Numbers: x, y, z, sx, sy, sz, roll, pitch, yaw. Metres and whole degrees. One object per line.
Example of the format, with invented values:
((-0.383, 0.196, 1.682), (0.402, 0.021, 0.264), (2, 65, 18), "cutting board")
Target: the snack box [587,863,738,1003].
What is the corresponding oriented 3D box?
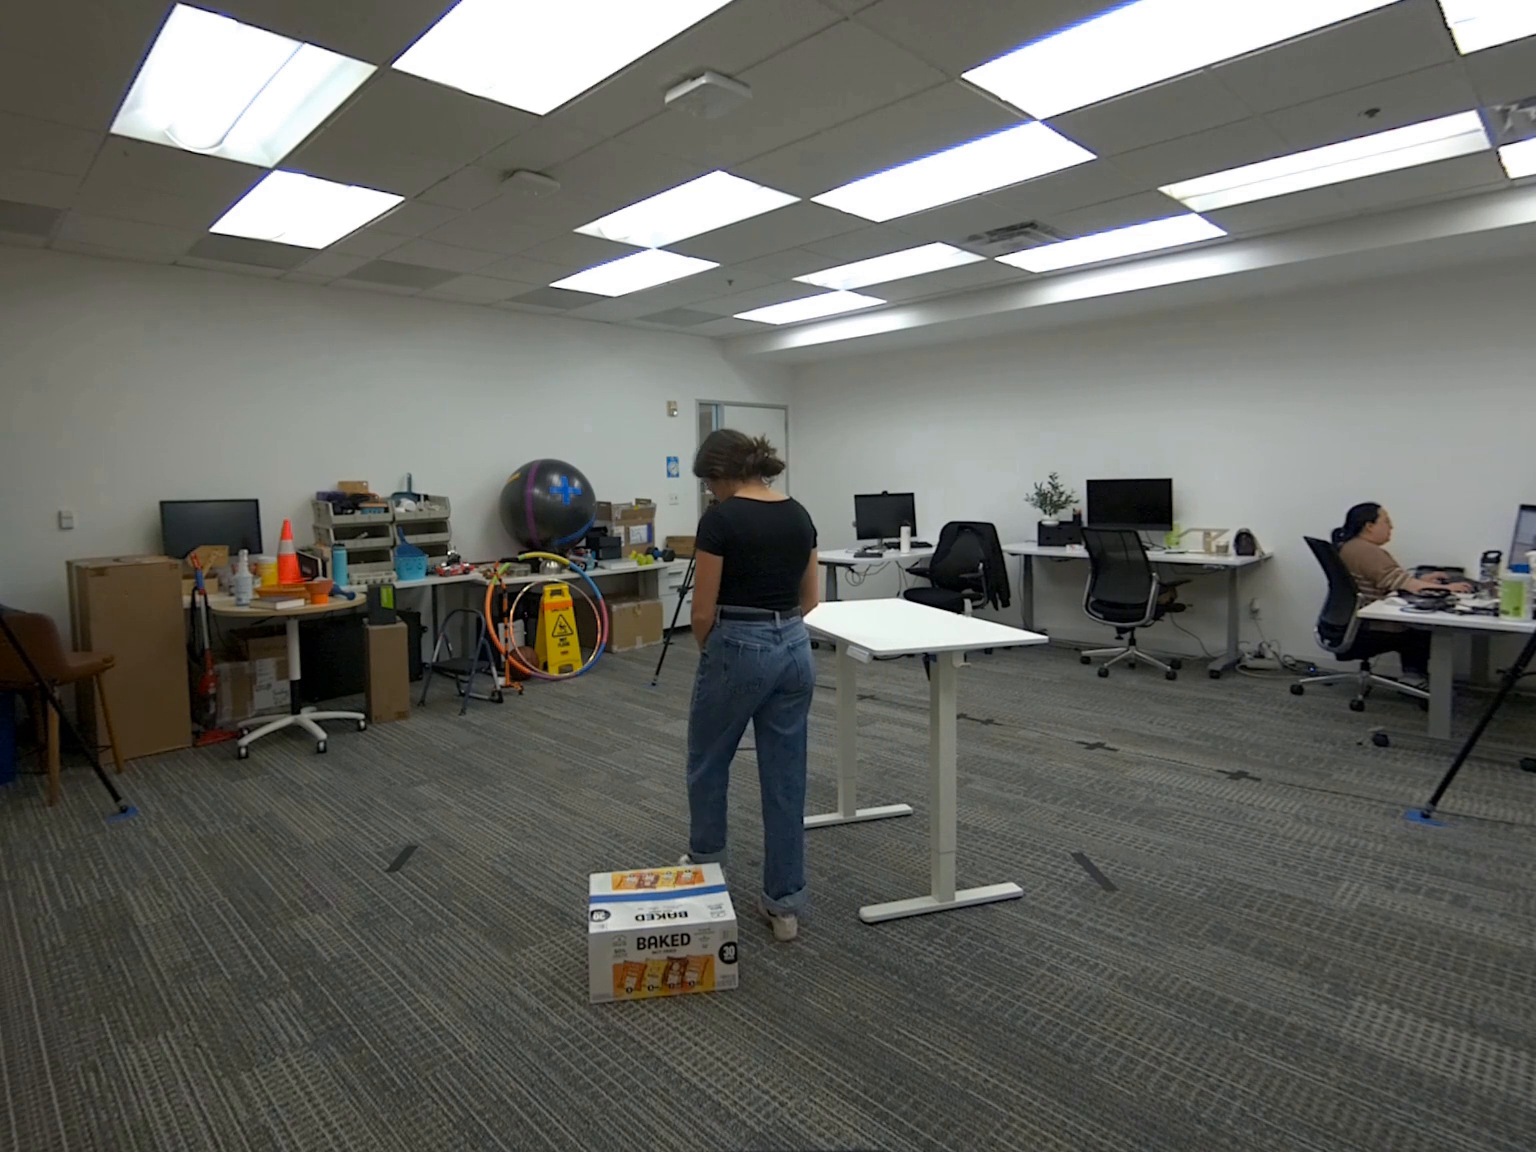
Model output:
((-0.308, 1.025, 2.469), (0.402, 0.205, 0.345), (-2, 6, -10), "snack box")
